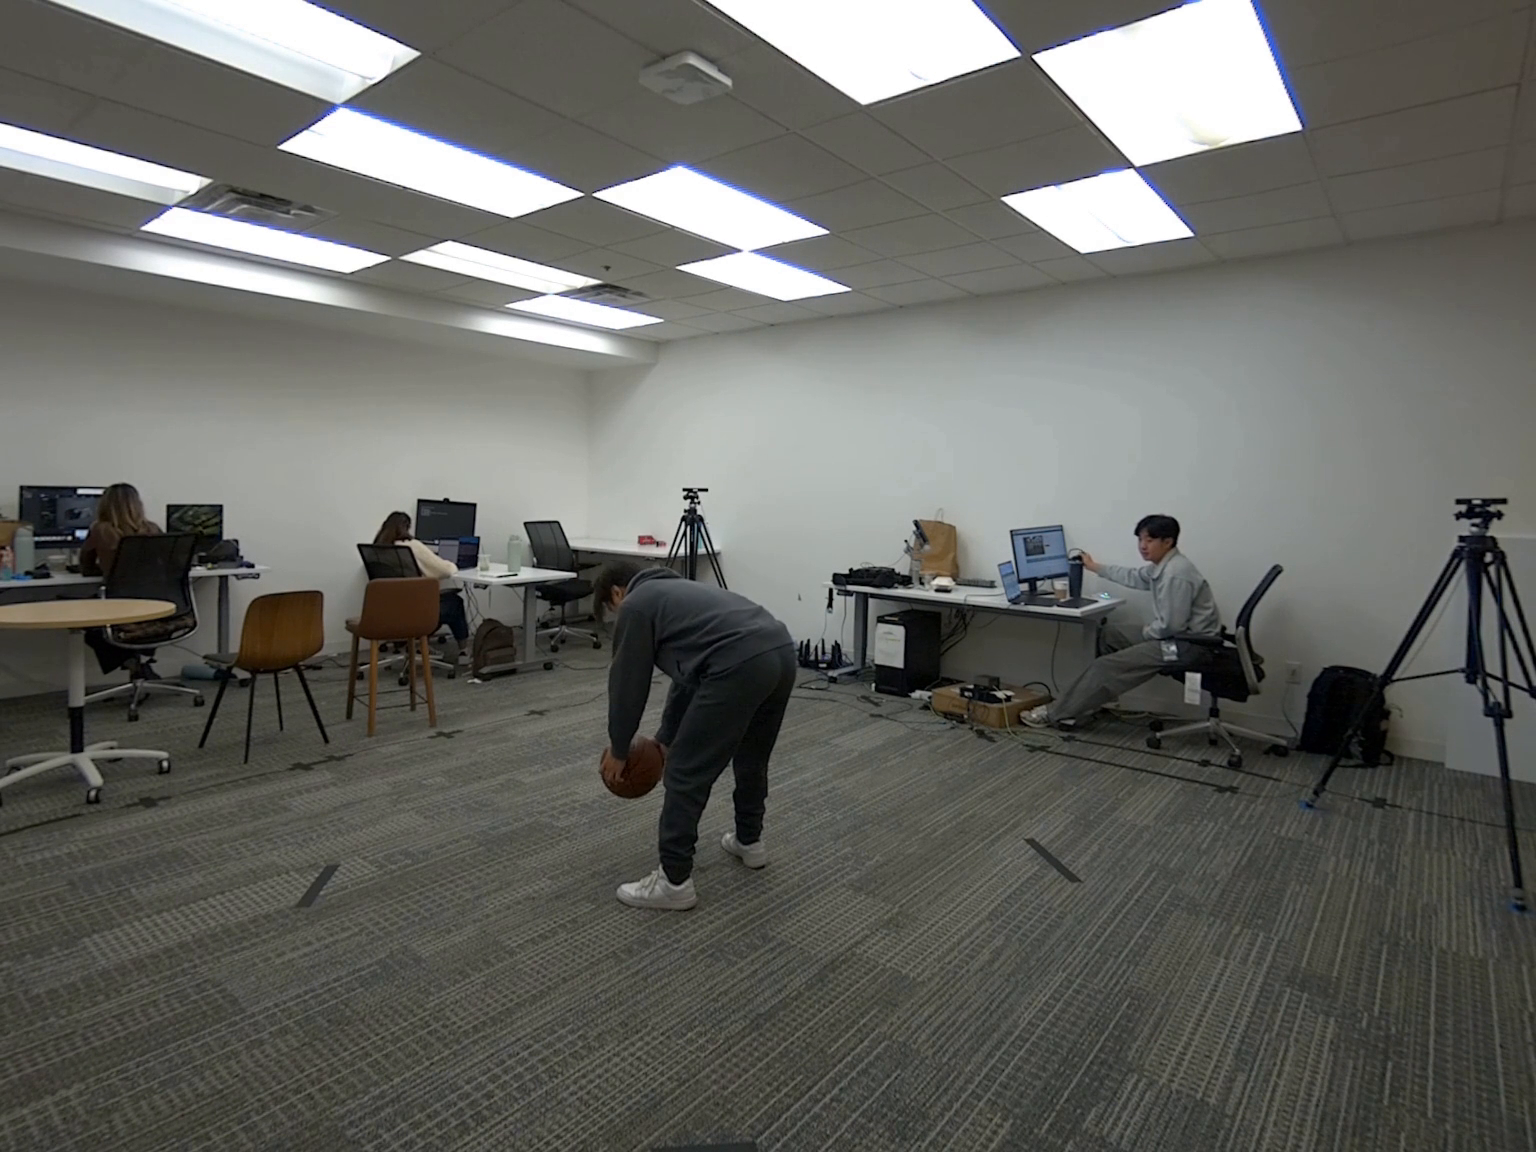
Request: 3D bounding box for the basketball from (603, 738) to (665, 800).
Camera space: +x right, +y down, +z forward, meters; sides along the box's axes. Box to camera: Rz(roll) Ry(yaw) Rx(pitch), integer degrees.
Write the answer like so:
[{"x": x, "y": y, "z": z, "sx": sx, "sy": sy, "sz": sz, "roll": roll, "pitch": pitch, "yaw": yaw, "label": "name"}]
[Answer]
[{"x": -0.533, "y": 0.716, "z": 3.256, "sx": 0.235, "sy": 0.235, "sz": 0.237, "roll": 1, "pitch": 4, "yaw": -2, "label": "basketball"}]
